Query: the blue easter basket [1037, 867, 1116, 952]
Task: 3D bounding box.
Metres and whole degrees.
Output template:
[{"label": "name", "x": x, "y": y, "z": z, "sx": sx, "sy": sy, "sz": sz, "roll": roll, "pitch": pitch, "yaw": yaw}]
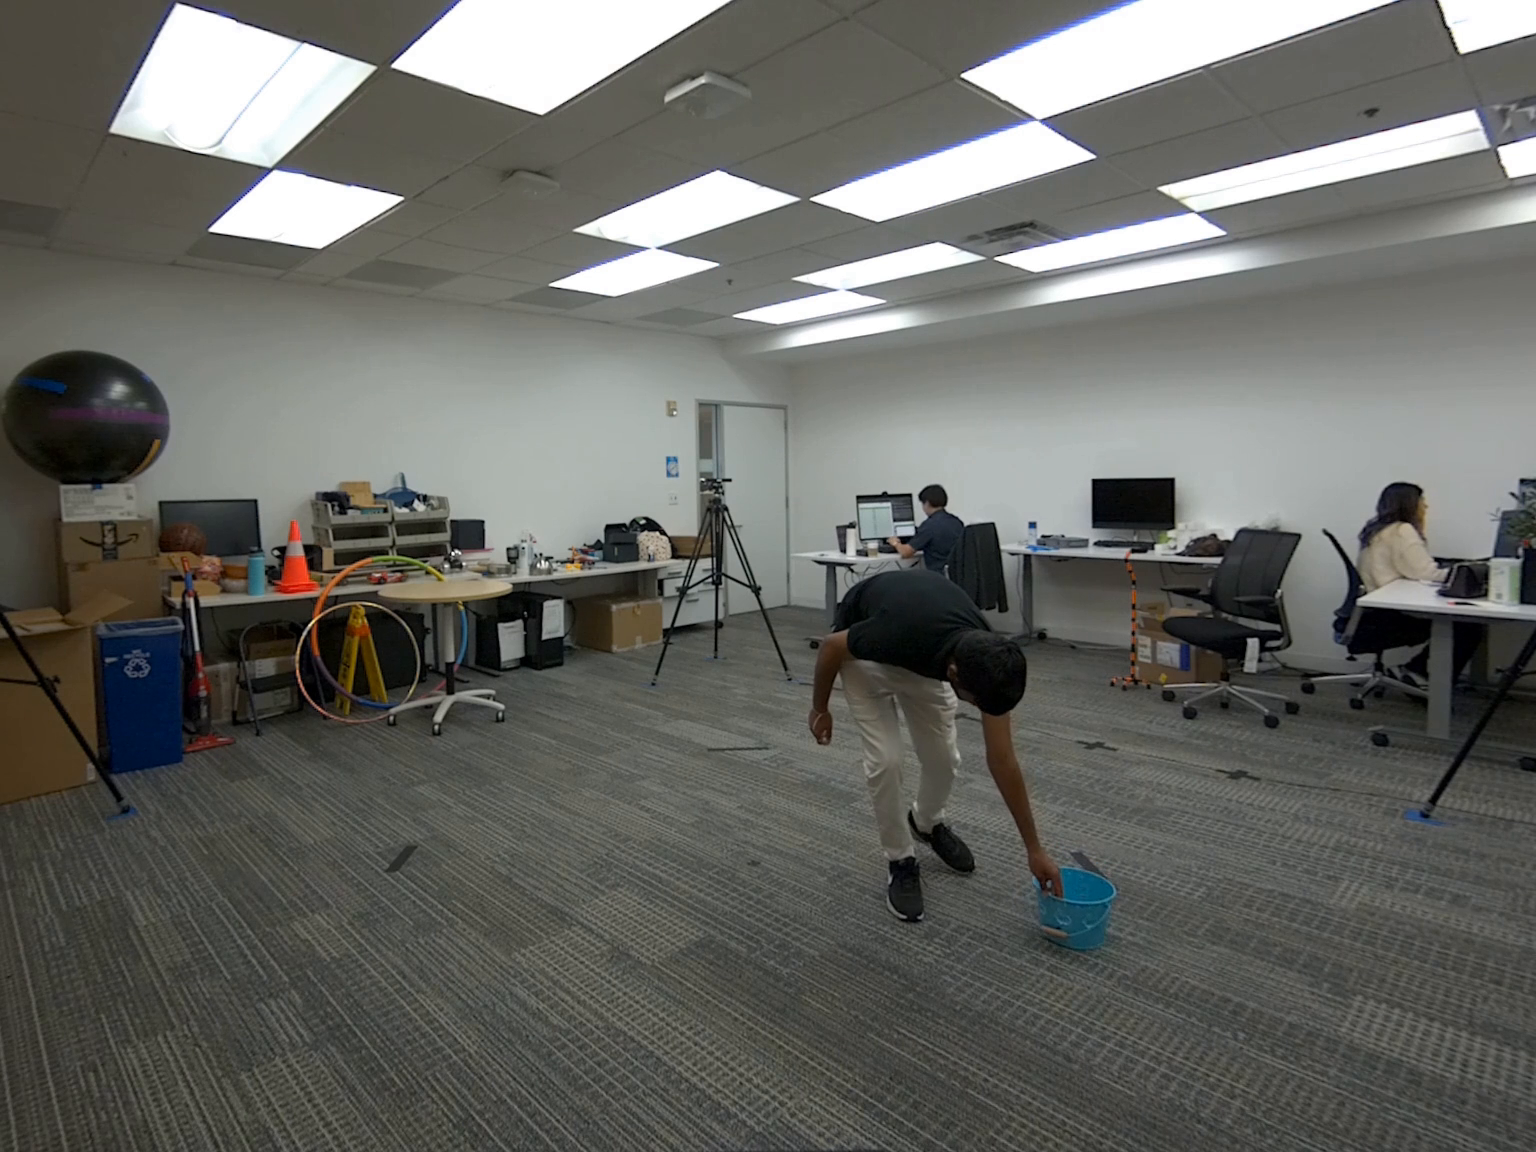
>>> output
[{"label": "blue easter basket", "x": 0.924, "y": 1.007, "z": 2.588, "sx": 0.243, "sy": 0.155, "sz": 0.245, "roll": 0, "pitch": 5, "yaw": -2}]
